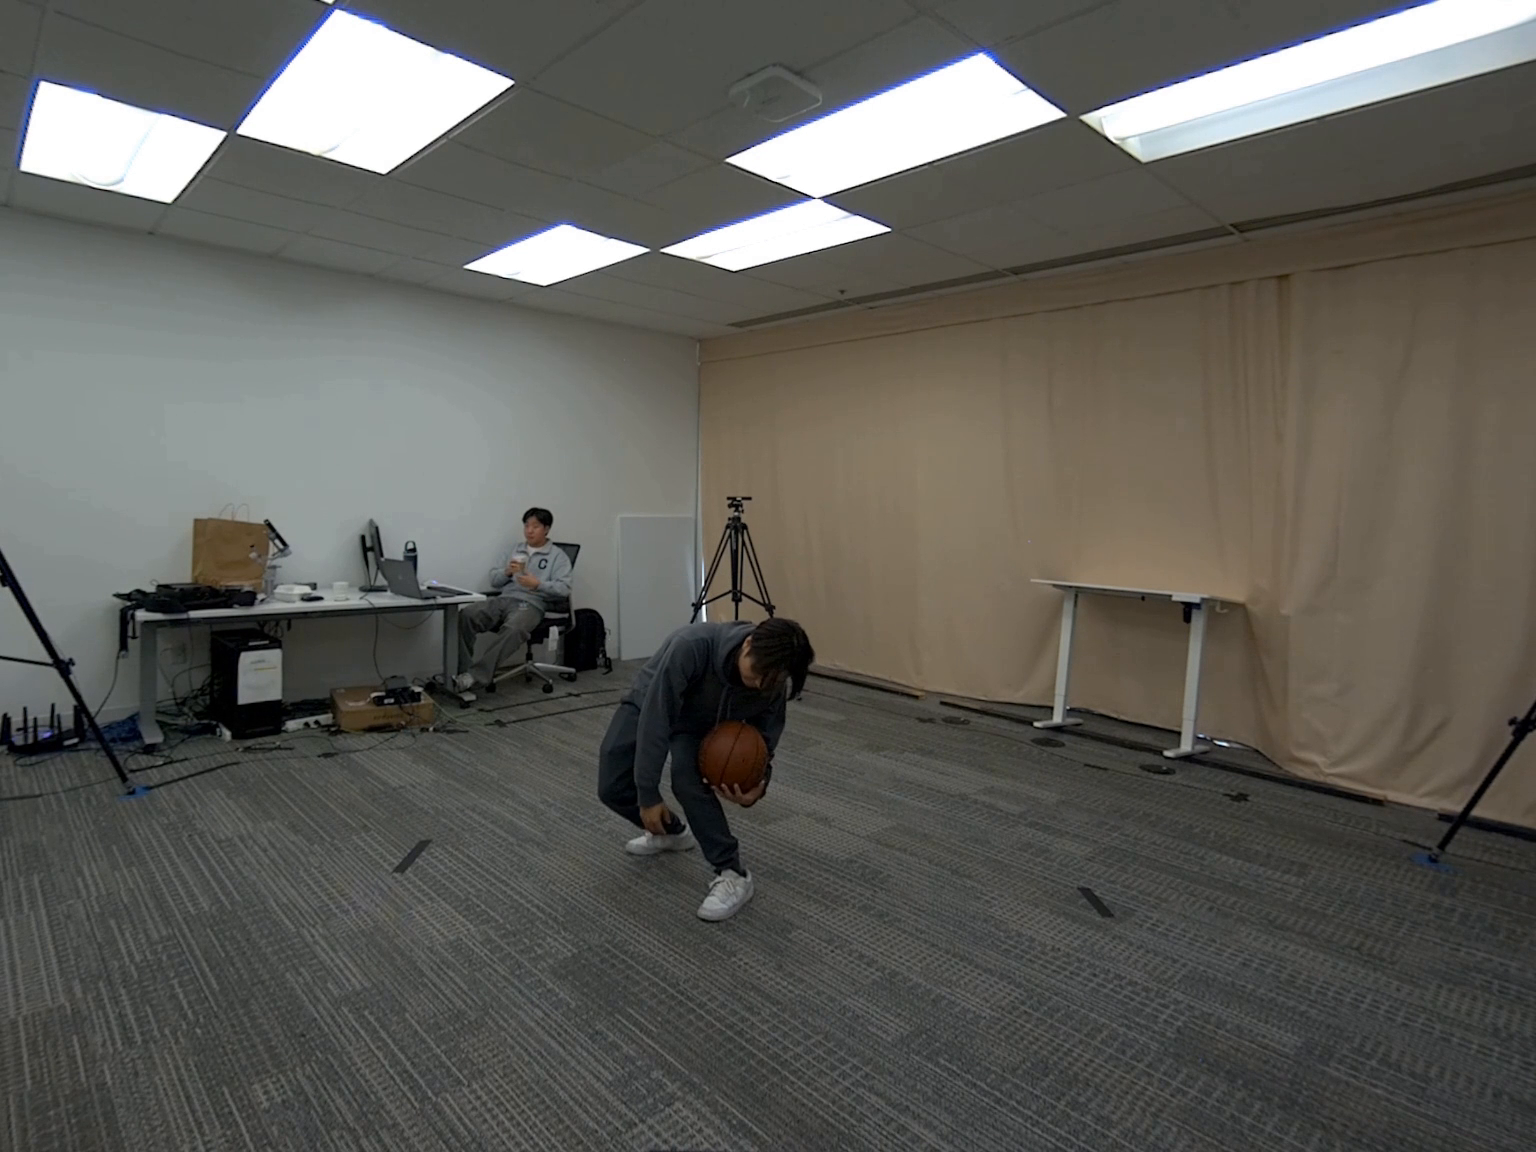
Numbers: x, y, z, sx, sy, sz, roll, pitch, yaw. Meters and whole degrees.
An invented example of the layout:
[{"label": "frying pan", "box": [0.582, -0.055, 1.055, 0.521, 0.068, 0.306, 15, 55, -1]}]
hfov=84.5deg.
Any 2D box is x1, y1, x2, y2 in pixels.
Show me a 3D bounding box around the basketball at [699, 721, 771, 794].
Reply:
[{"label": "basketball", "box": [-0.121, 0.614, 2.860, 0.236, 0.235, 0.237, 1, 4, -1]}]
